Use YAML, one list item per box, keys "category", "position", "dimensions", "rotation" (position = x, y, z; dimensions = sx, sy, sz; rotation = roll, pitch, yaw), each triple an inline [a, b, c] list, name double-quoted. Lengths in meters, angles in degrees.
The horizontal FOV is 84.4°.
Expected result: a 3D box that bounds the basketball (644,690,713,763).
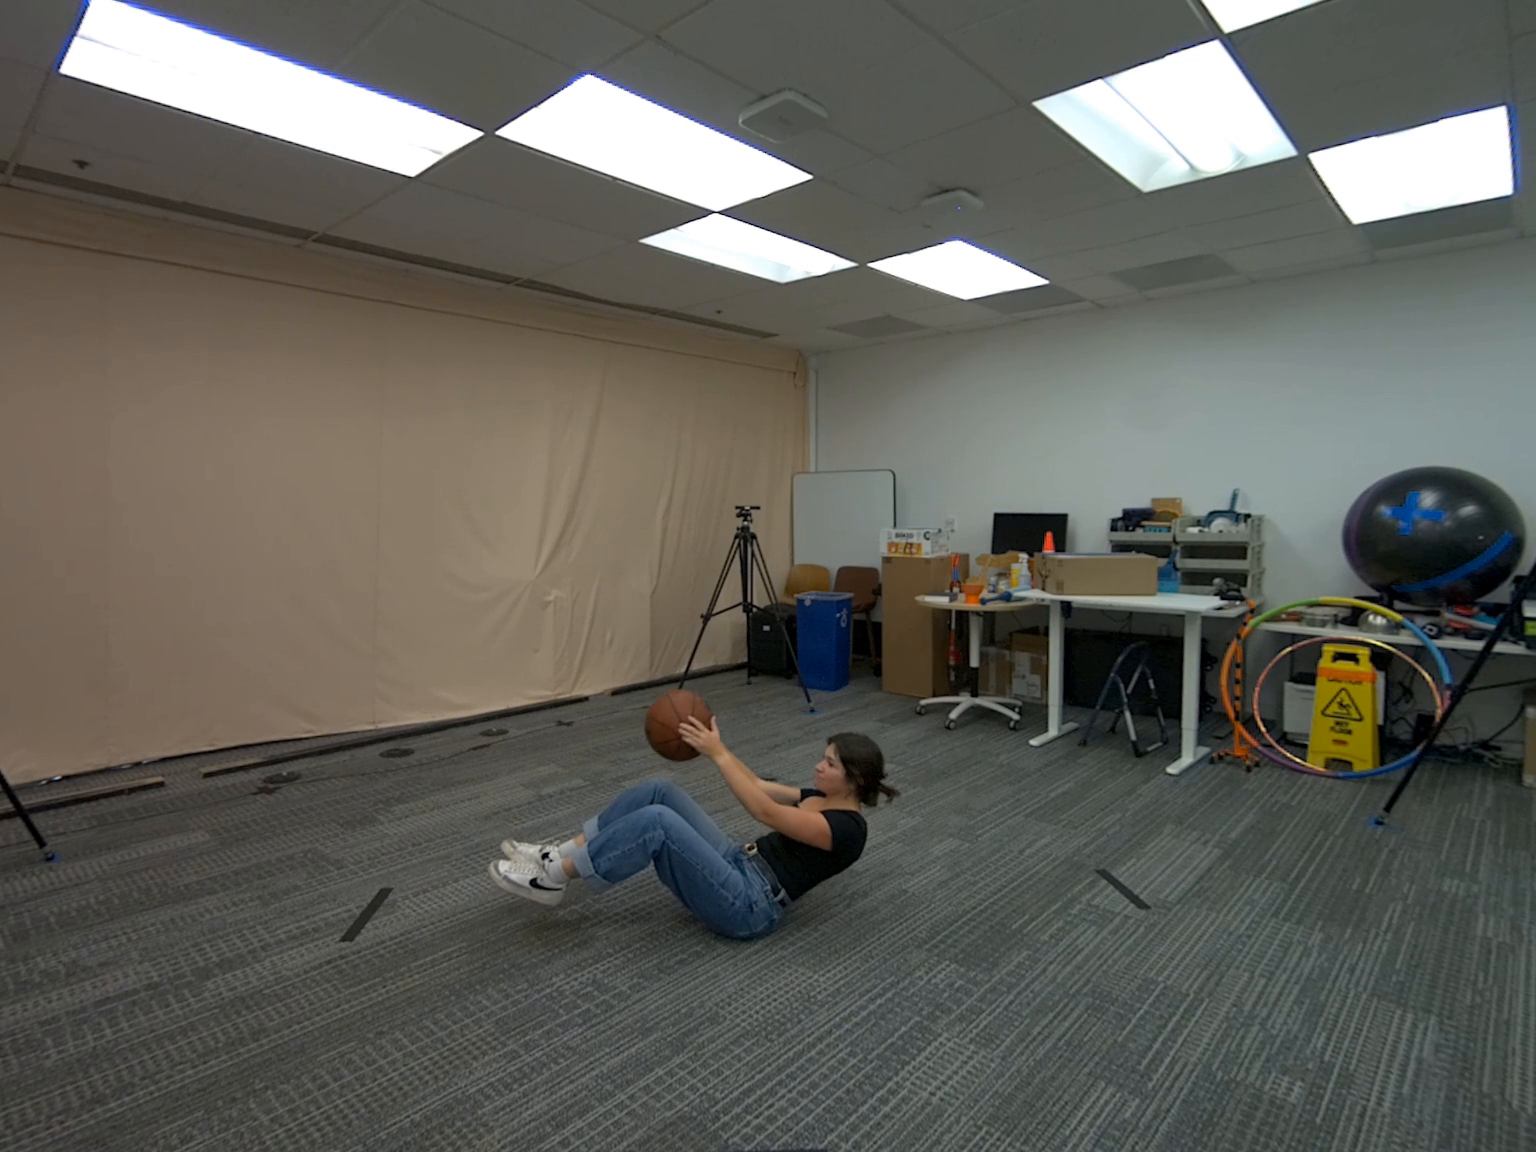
- category: "basketball"
  position: [-0.288, 0.513, 2.842]
  dimensions: [0.236, 0.235, 0.237]
  rotation: [0, 4, -2]
